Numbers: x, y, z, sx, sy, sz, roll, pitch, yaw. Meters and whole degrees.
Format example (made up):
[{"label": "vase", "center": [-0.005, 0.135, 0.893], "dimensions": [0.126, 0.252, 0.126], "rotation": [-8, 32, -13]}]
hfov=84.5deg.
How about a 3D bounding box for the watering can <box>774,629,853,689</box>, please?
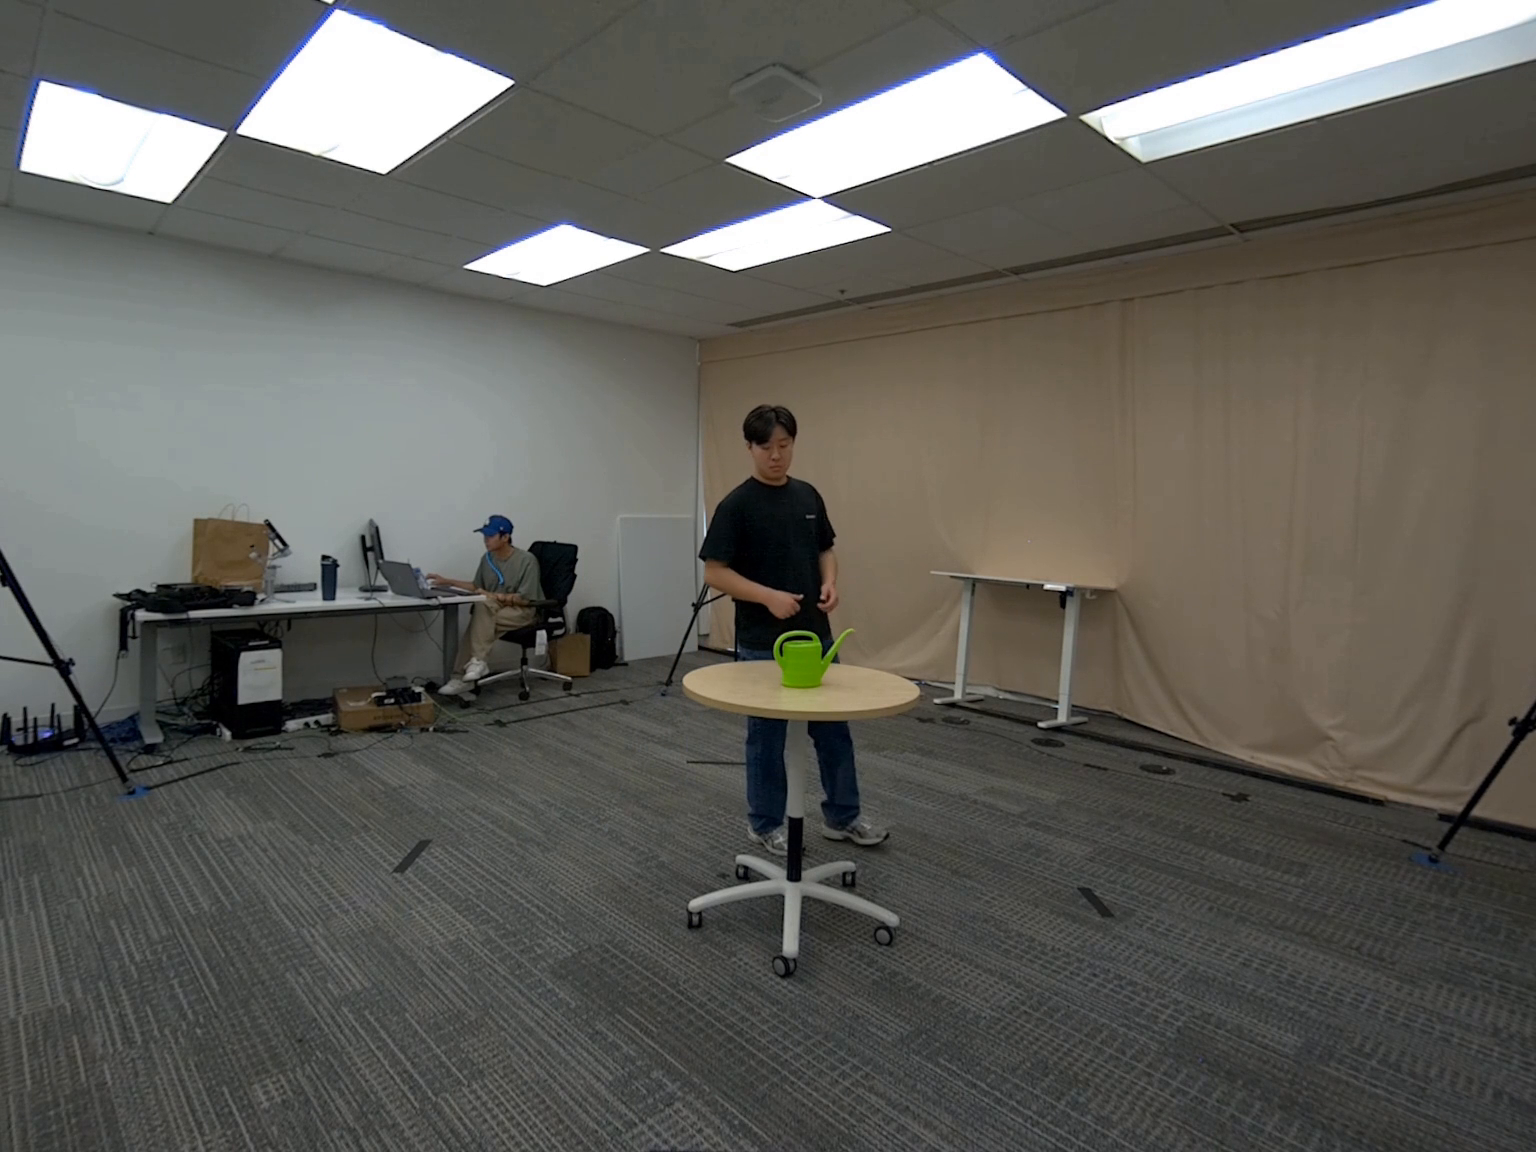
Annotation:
[{"label": "watering can", "center": [0.142, 0.267, 2.704], "dimensions": [0.277, 0.176, 0.099], "rotation": [1, 5, -5]}]
